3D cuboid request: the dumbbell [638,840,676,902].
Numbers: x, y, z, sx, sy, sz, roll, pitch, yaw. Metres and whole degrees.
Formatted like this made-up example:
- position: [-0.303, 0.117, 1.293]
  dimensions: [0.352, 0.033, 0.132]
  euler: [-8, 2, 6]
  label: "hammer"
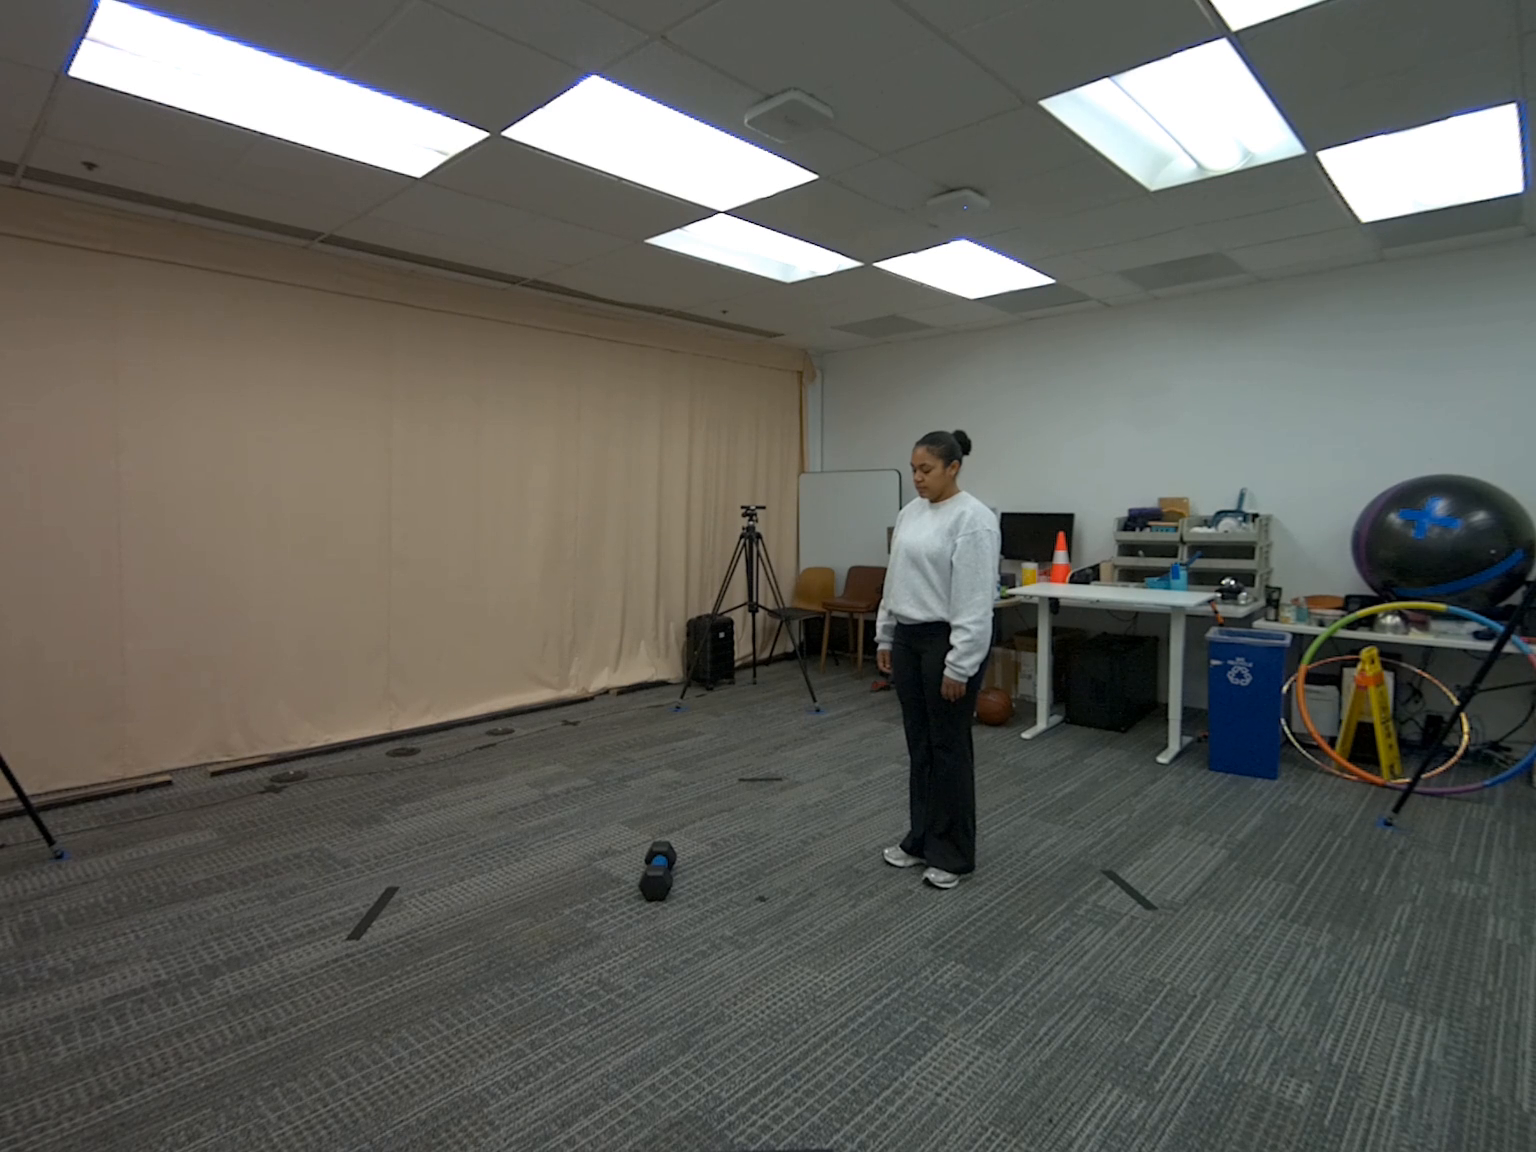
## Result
- position: [-0.403, 1.083, 3.101]
  dimensions: [0.108, 0.123, 0.295]
  euler: [30, 3, -5]
  label: "dumbbell"
